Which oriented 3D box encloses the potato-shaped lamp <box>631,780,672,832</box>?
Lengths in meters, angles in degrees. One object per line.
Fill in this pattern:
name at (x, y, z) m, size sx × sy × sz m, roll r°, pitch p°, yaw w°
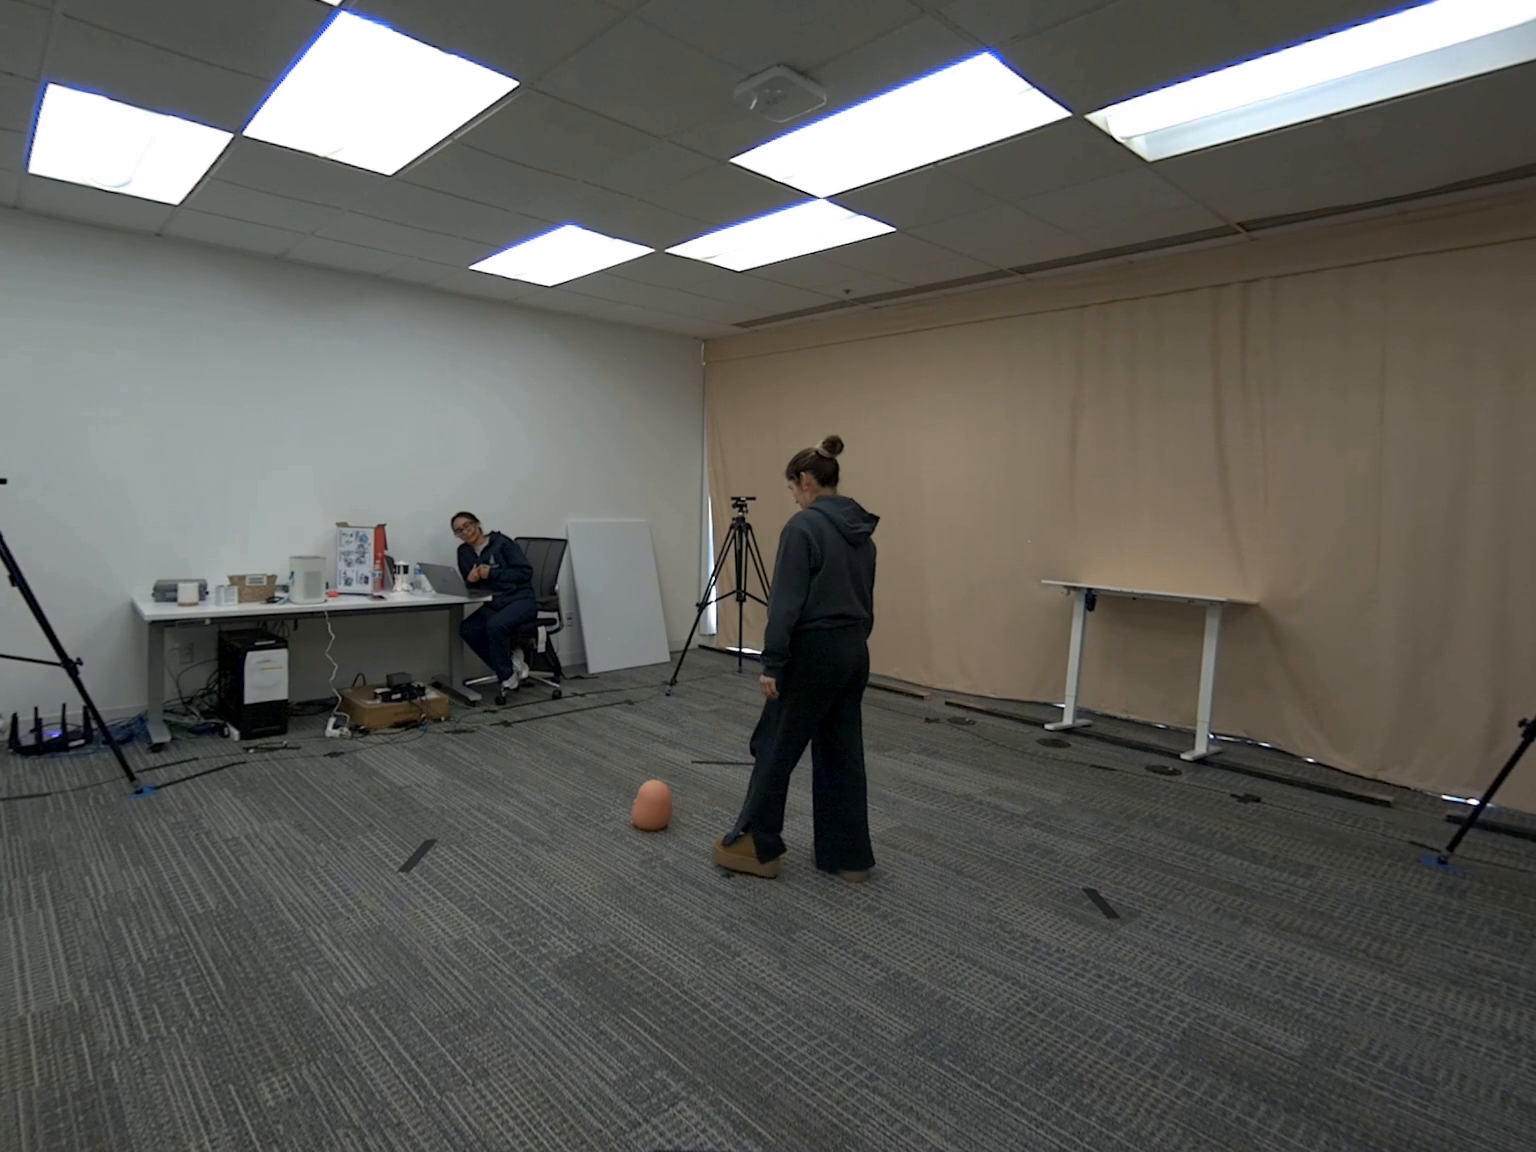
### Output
potato-shaped lamp at (-0.500, 0.960, 3.559) m, size 0.175 × 0.198 × 0.161 m, roll 2°, pitch 2°, yaw 39°
